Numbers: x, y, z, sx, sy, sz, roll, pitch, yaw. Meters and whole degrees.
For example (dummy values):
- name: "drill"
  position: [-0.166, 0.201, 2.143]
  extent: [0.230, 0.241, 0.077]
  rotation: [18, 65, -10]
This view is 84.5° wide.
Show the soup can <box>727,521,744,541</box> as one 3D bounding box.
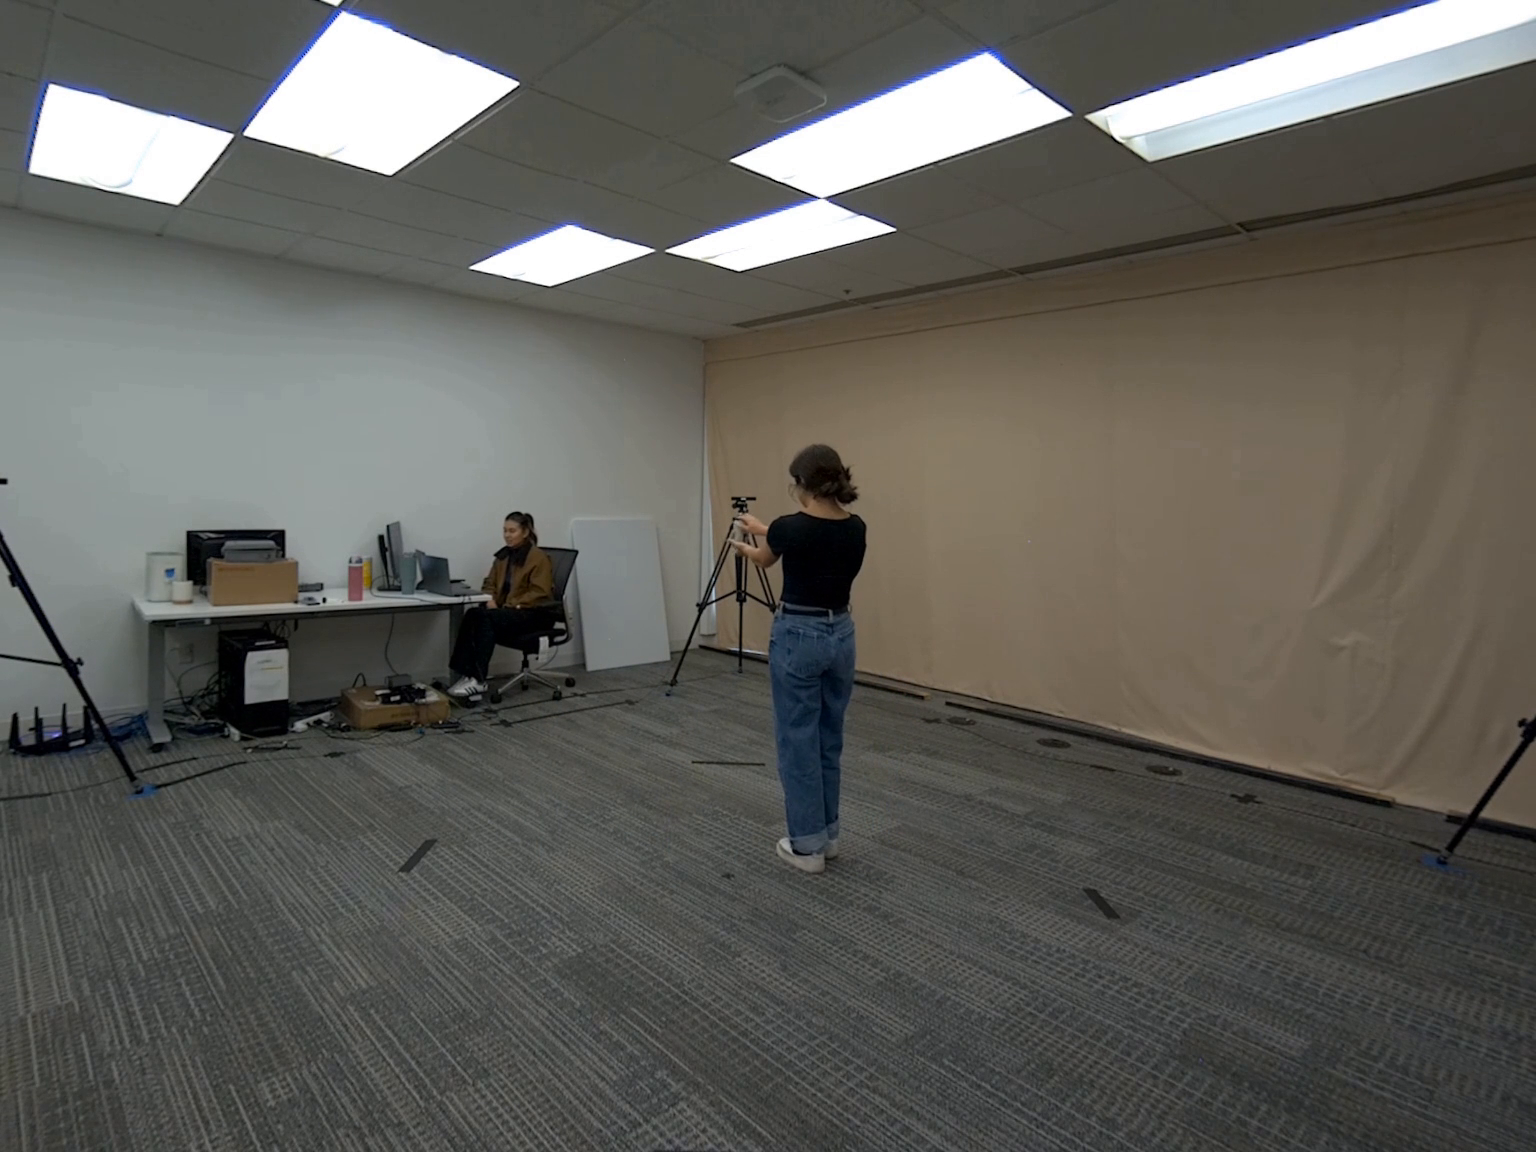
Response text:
- name: "soup can"
  position: [-0.122, -0.181, 3.669]
  extent: [0.067, 0.121, 0.067]
  rotation: [1, 2, -1]
